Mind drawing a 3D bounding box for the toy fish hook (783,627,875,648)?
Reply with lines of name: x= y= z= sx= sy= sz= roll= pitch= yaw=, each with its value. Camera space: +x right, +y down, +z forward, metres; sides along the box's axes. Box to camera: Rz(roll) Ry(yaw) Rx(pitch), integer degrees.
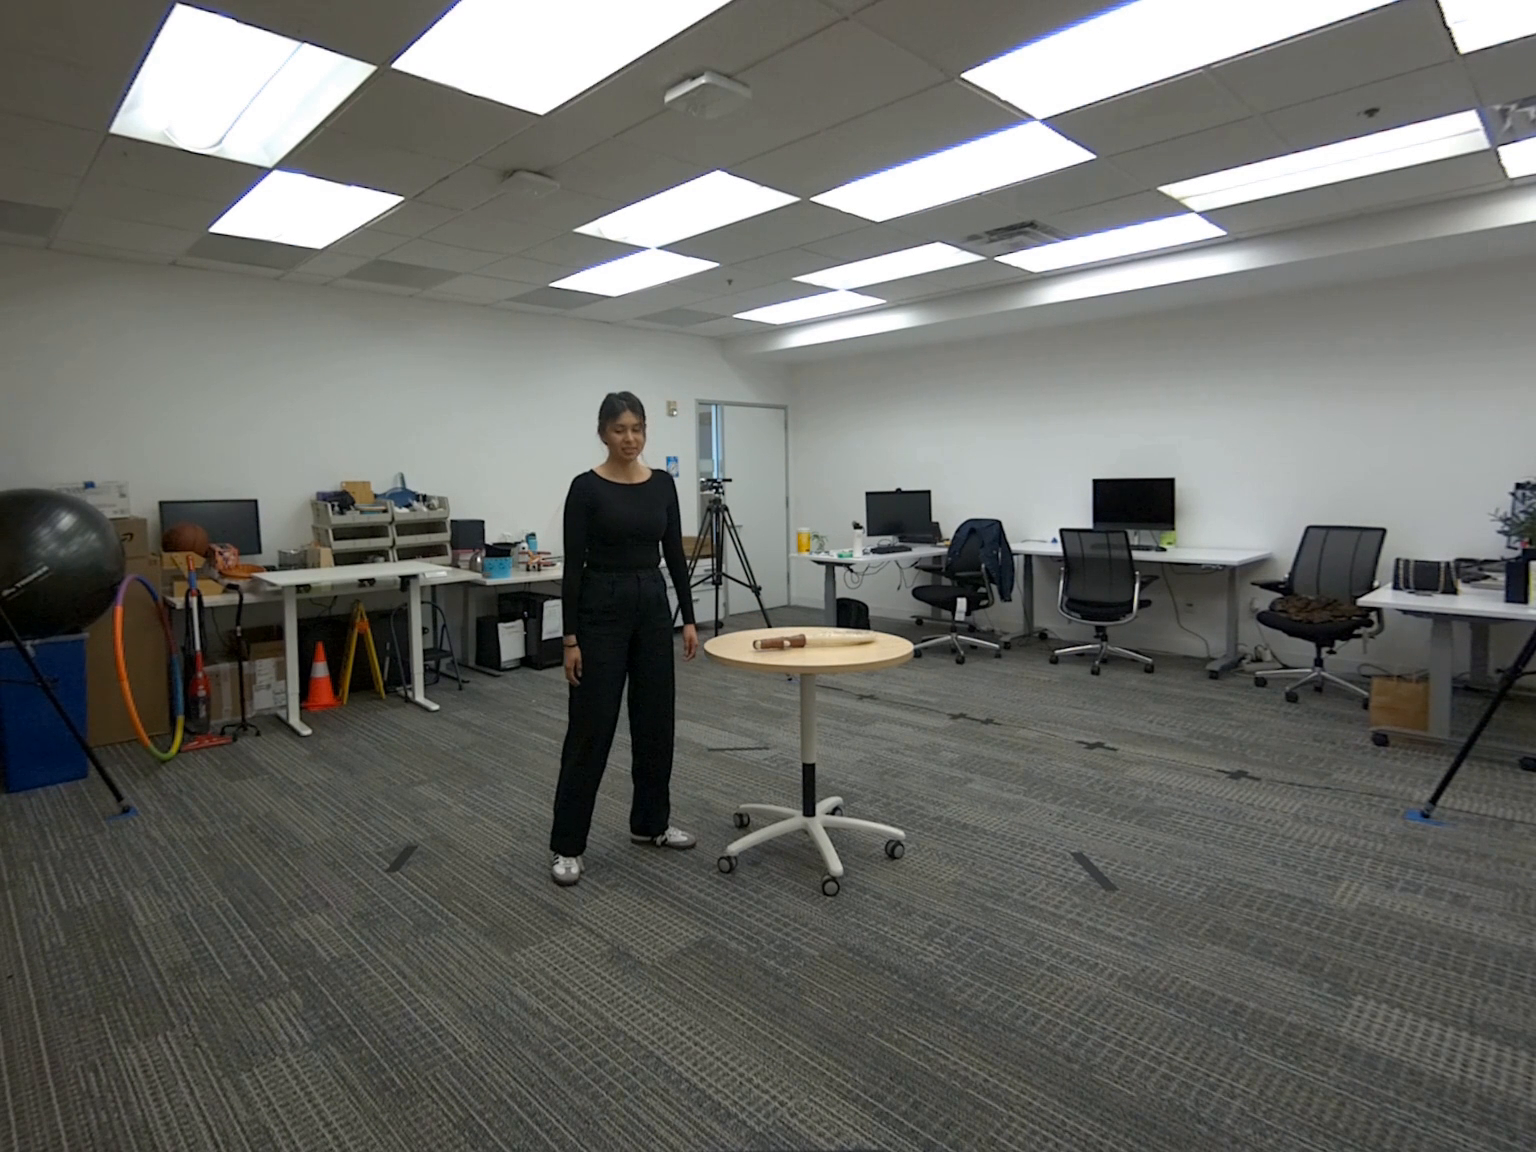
toy fish hook: x=0.149 y=0.238 z=3.164 sx=0.497 sy=0.048 sz=0.229 roll=-2 pitch=1 yaw=-22
